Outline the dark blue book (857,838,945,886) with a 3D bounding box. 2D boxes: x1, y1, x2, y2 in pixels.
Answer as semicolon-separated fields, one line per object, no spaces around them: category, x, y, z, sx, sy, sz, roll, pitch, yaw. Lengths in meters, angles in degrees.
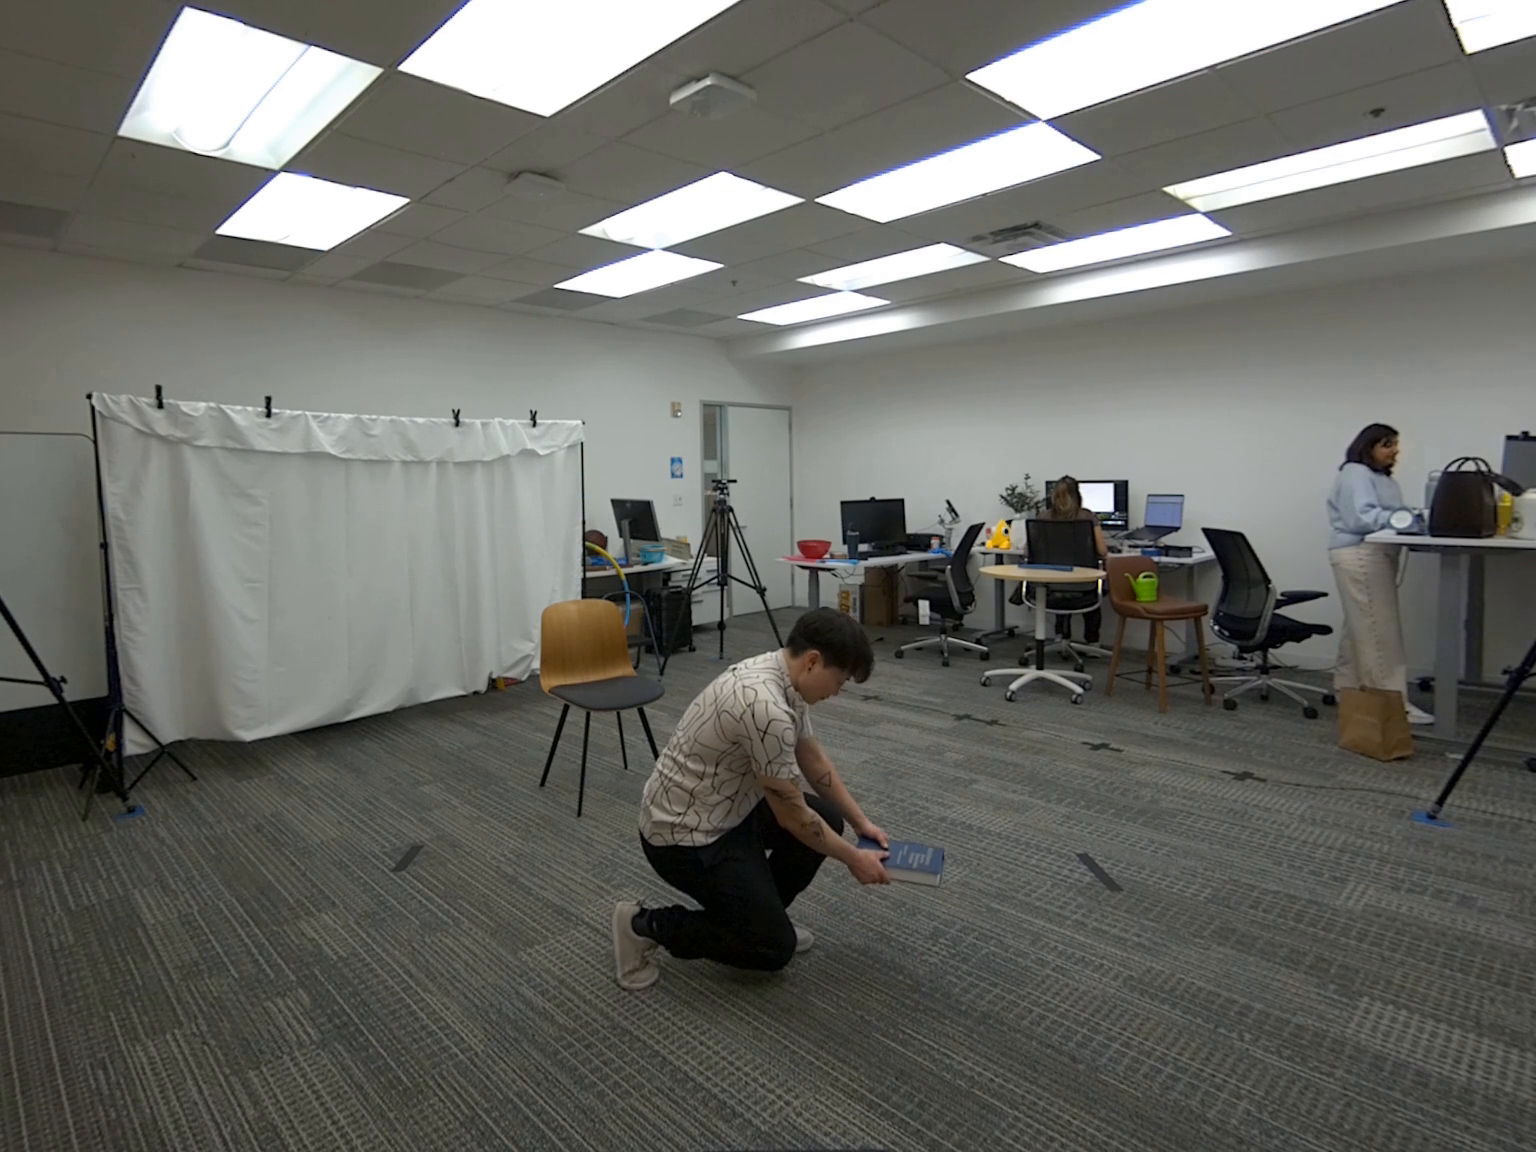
dark blue book;0.368;0.815;2.454;0.249;0.045;0.162;2;9;16
